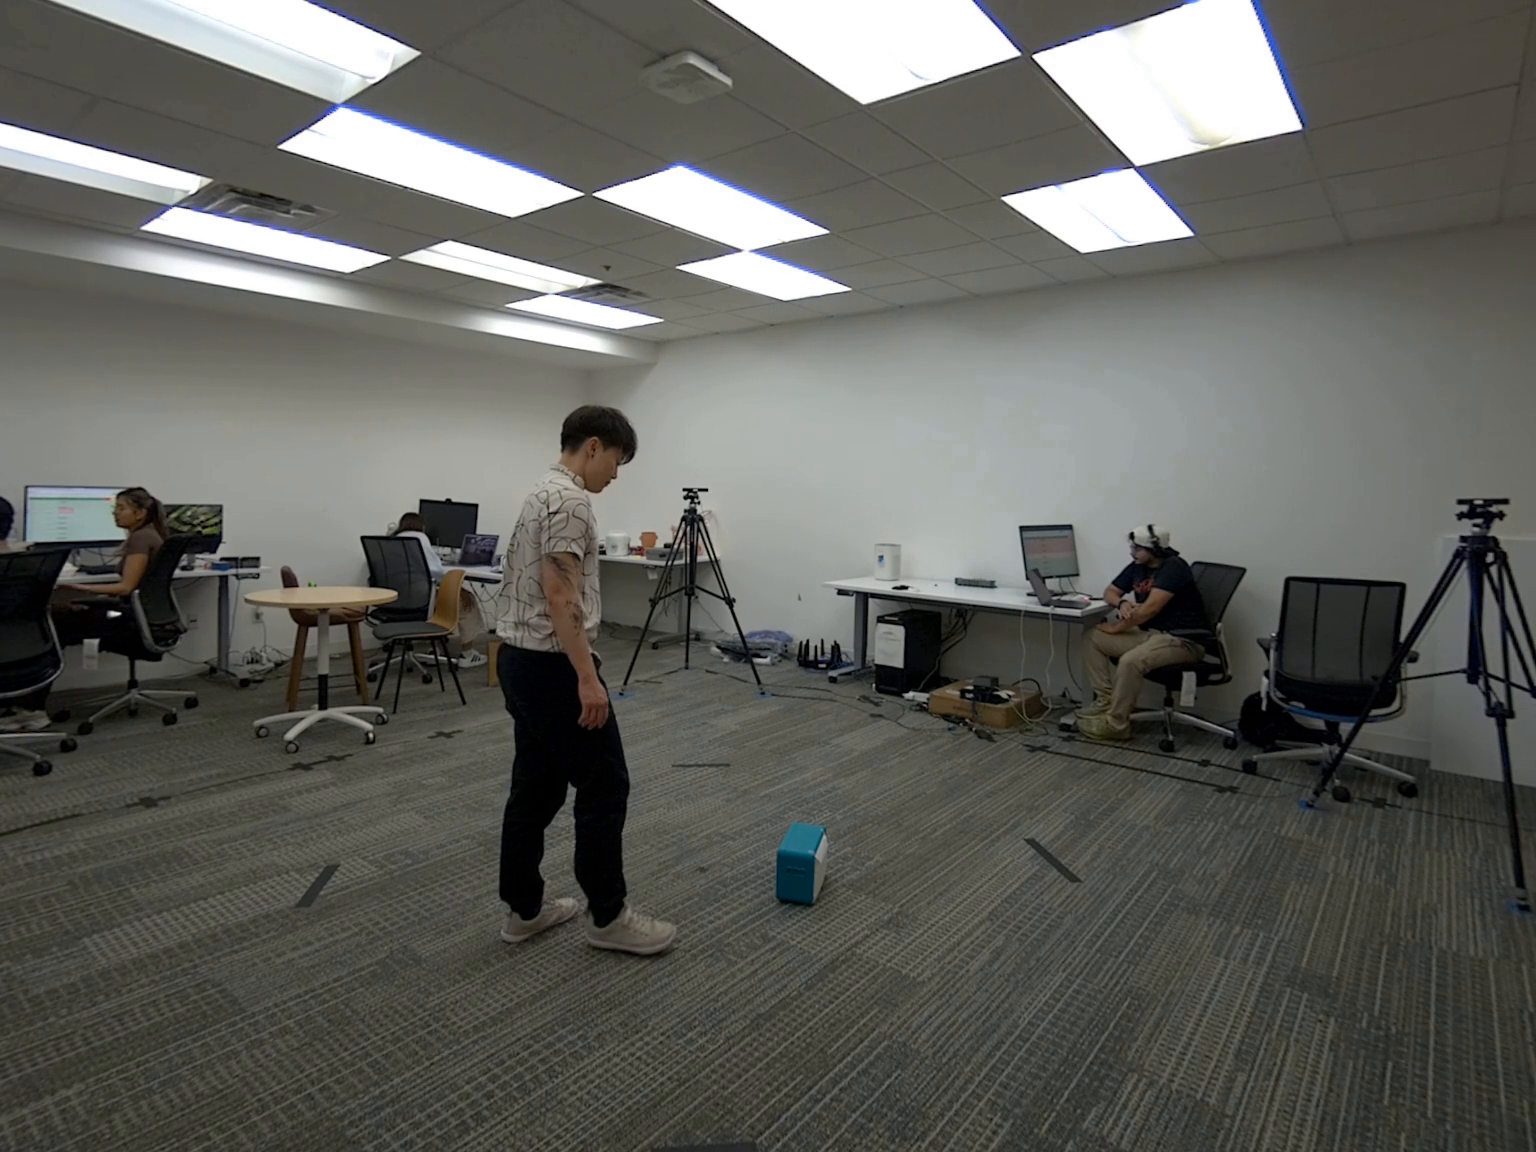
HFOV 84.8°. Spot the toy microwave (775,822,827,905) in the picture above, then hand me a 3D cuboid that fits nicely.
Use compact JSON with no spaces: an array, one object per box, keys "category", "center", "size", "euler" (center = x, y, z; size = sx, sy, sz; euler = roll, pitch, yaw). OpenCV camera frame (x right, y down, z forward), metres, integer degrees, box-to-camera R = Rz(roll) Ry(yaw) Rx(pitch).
[{"category":"toy microwave","center":[0.119,0.999,2.974],"size":[0.155,0.183,0.282],"euler":[2,5,14]}]
